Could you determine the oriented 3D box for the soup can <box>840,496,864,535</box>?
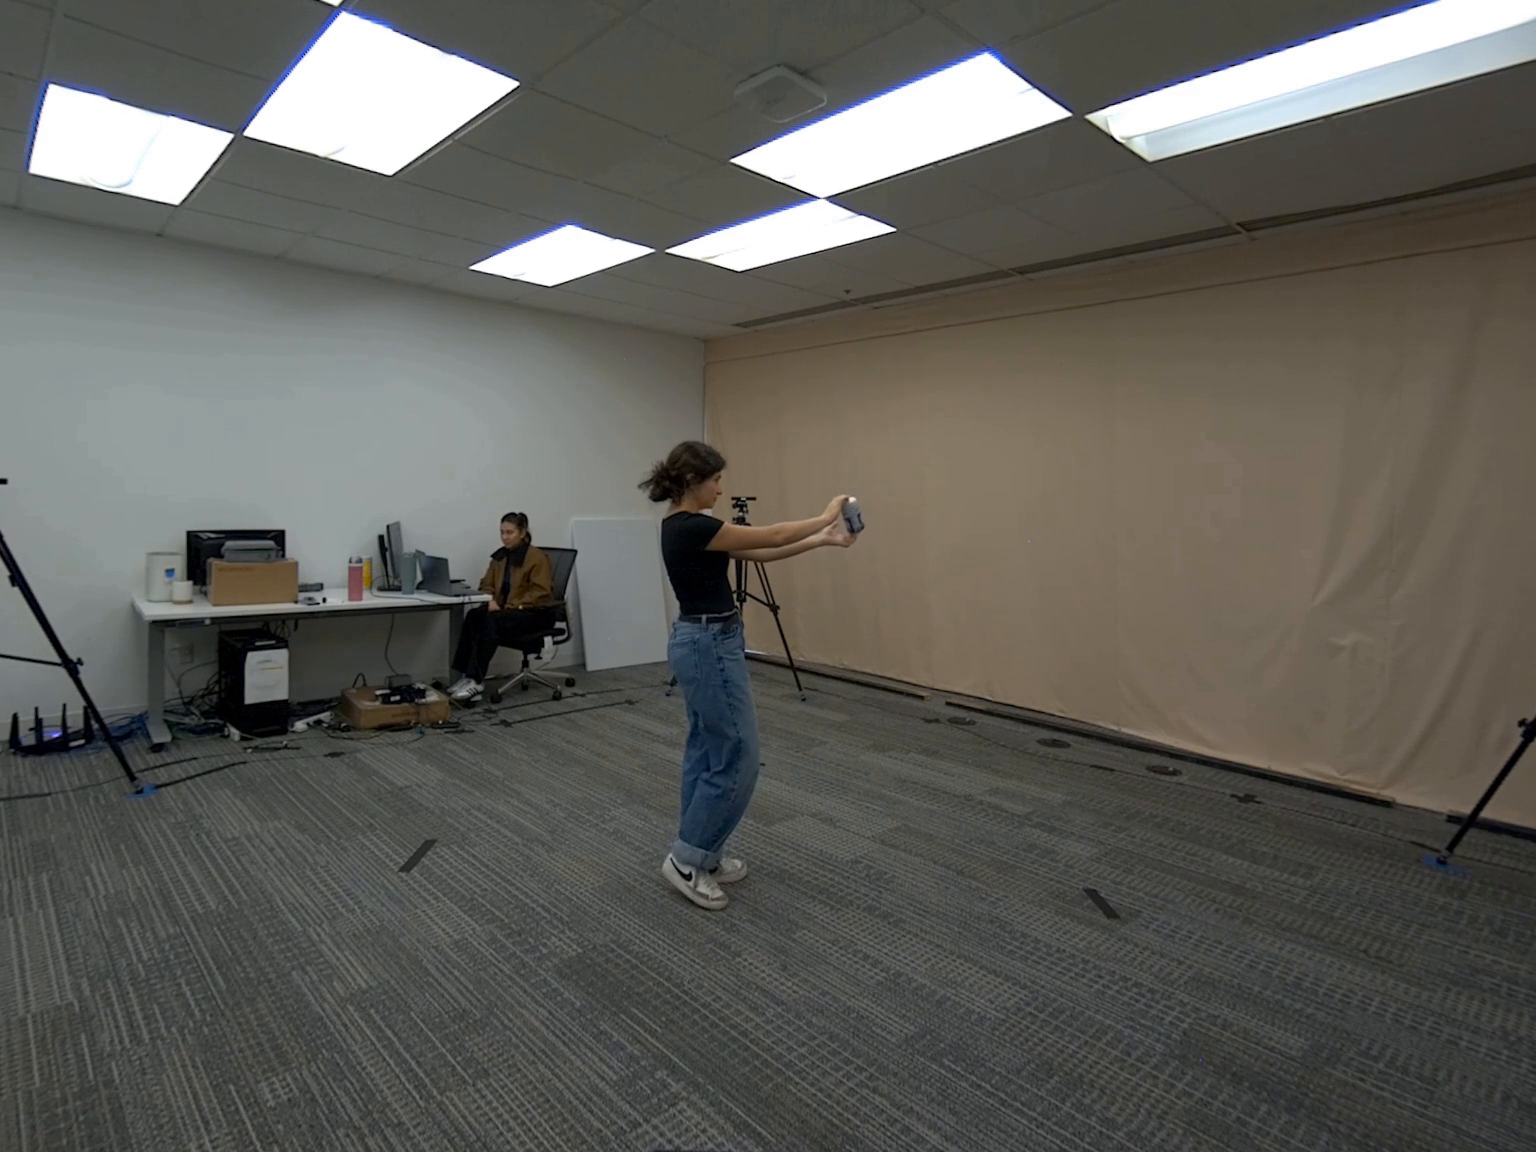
[{"bbox_3d":[0.299,-0.224,3.089,0.067,0.119,0.068,-14,18,3],"label":"soup can"}]
